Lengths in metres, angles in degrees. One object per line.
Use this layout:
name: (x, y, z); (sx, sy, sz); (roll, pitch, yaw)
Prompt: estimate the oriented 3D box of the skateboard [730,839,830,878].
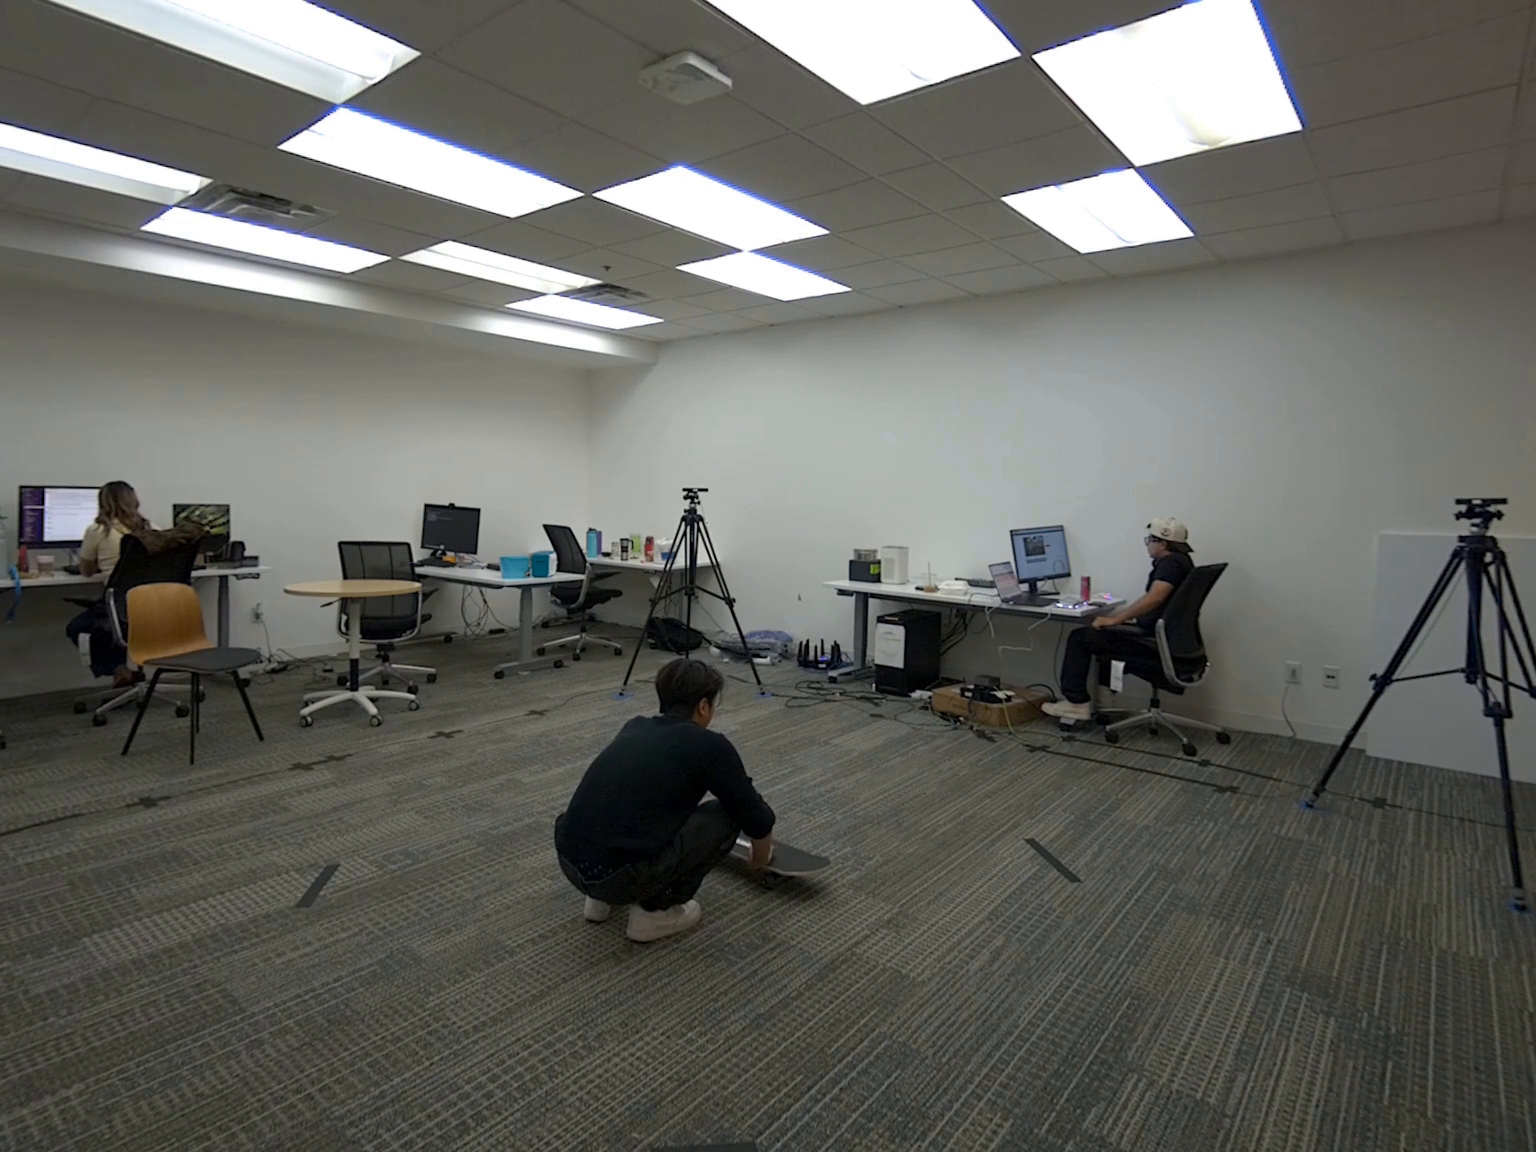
skateboard: (-0.125, 1.001, 3.152); (0.812, 0.110, 0.188); (6, 7, 40)
